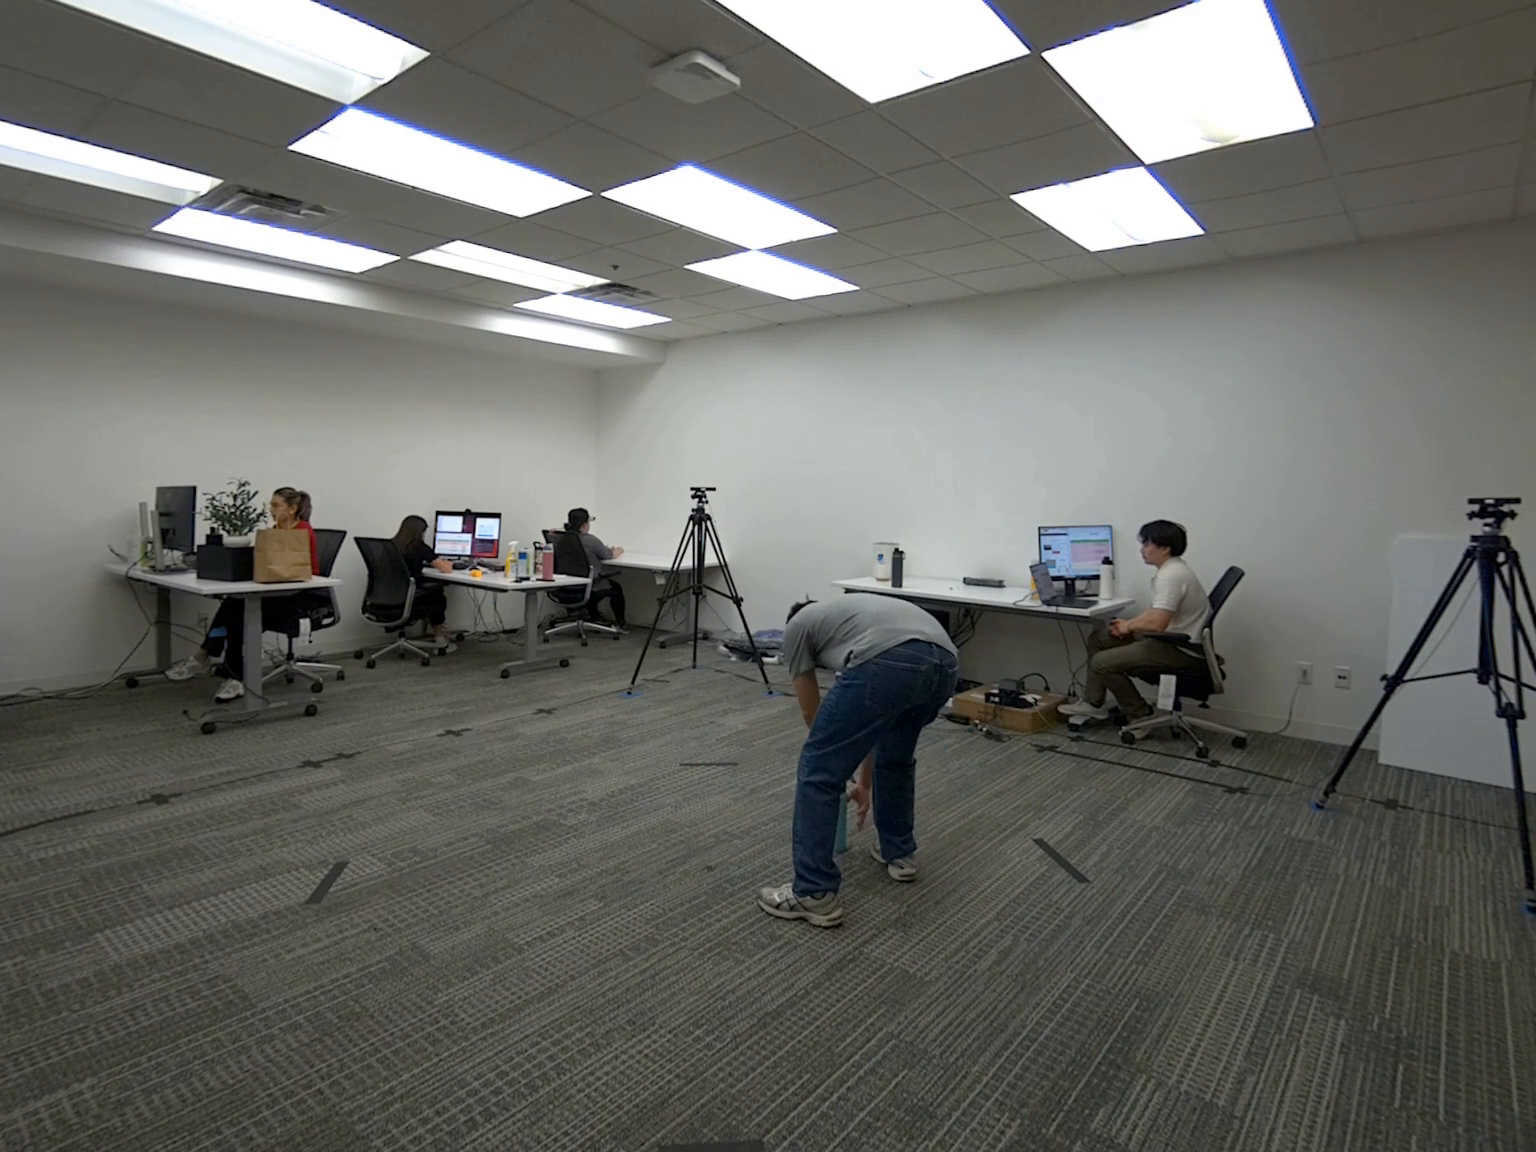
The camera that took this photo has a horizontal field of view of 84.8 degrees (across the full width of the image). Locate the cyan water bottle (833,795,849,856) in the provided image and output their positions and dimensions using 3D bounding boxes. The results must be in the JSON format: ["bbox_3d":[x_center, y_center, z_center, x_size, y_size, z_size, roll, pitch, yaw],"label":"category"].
[{"bbox_3d":[0.256,0.913,3.303,0.092,0.283,0.093,1,3,-2],"label":"cyan water bottle"}]
